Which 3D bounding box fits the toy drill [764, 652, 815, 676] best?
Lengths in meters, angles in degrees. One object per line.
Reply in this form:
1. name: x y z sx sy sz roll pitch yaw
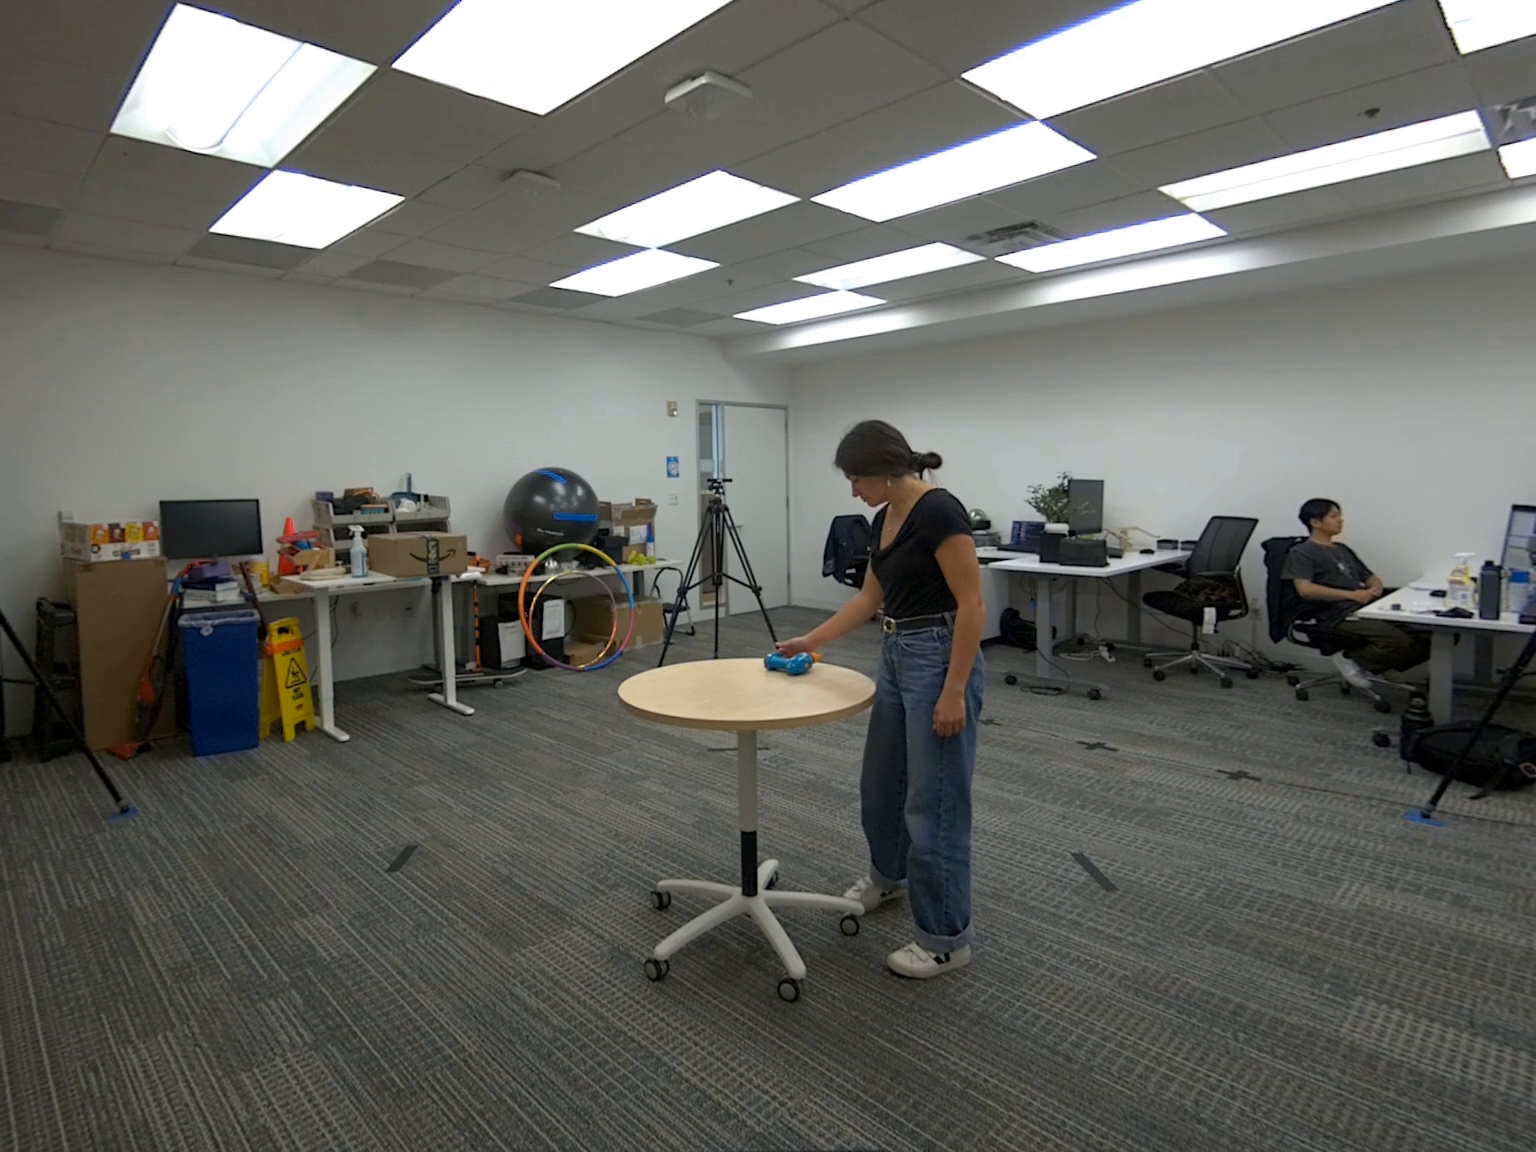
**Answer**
1. toy drill: 0.088 0.275 2.741 0.150 0.060 0.167 4 18 45
